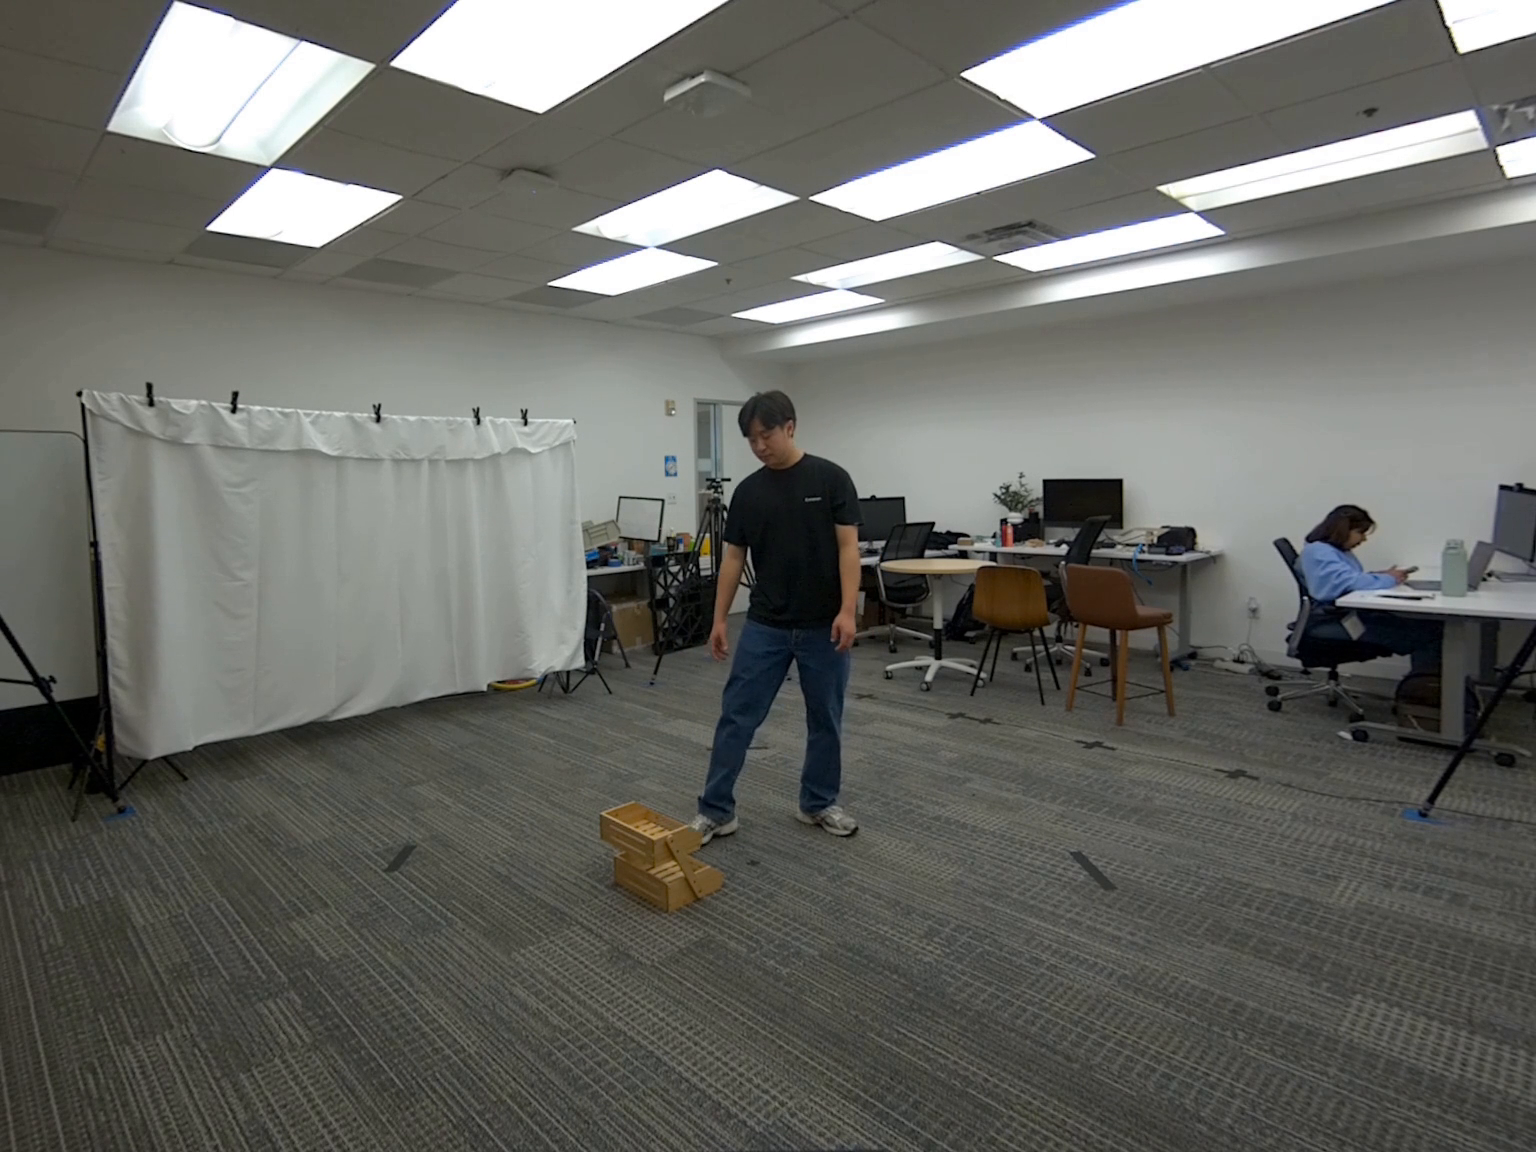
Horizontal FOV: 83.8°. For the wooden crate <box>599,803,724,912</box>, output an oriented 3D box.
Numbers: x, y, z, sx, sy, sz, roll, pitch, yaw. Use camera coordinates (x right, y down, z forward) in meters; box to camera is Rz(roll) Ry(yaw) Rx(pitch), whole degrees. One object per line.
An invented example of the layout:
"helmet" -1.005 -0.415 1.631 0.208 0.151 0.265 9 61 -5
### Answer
"wooden crate" -0.356 0.935 2.925 0.294 0.272 0.334 -7 8 -44
